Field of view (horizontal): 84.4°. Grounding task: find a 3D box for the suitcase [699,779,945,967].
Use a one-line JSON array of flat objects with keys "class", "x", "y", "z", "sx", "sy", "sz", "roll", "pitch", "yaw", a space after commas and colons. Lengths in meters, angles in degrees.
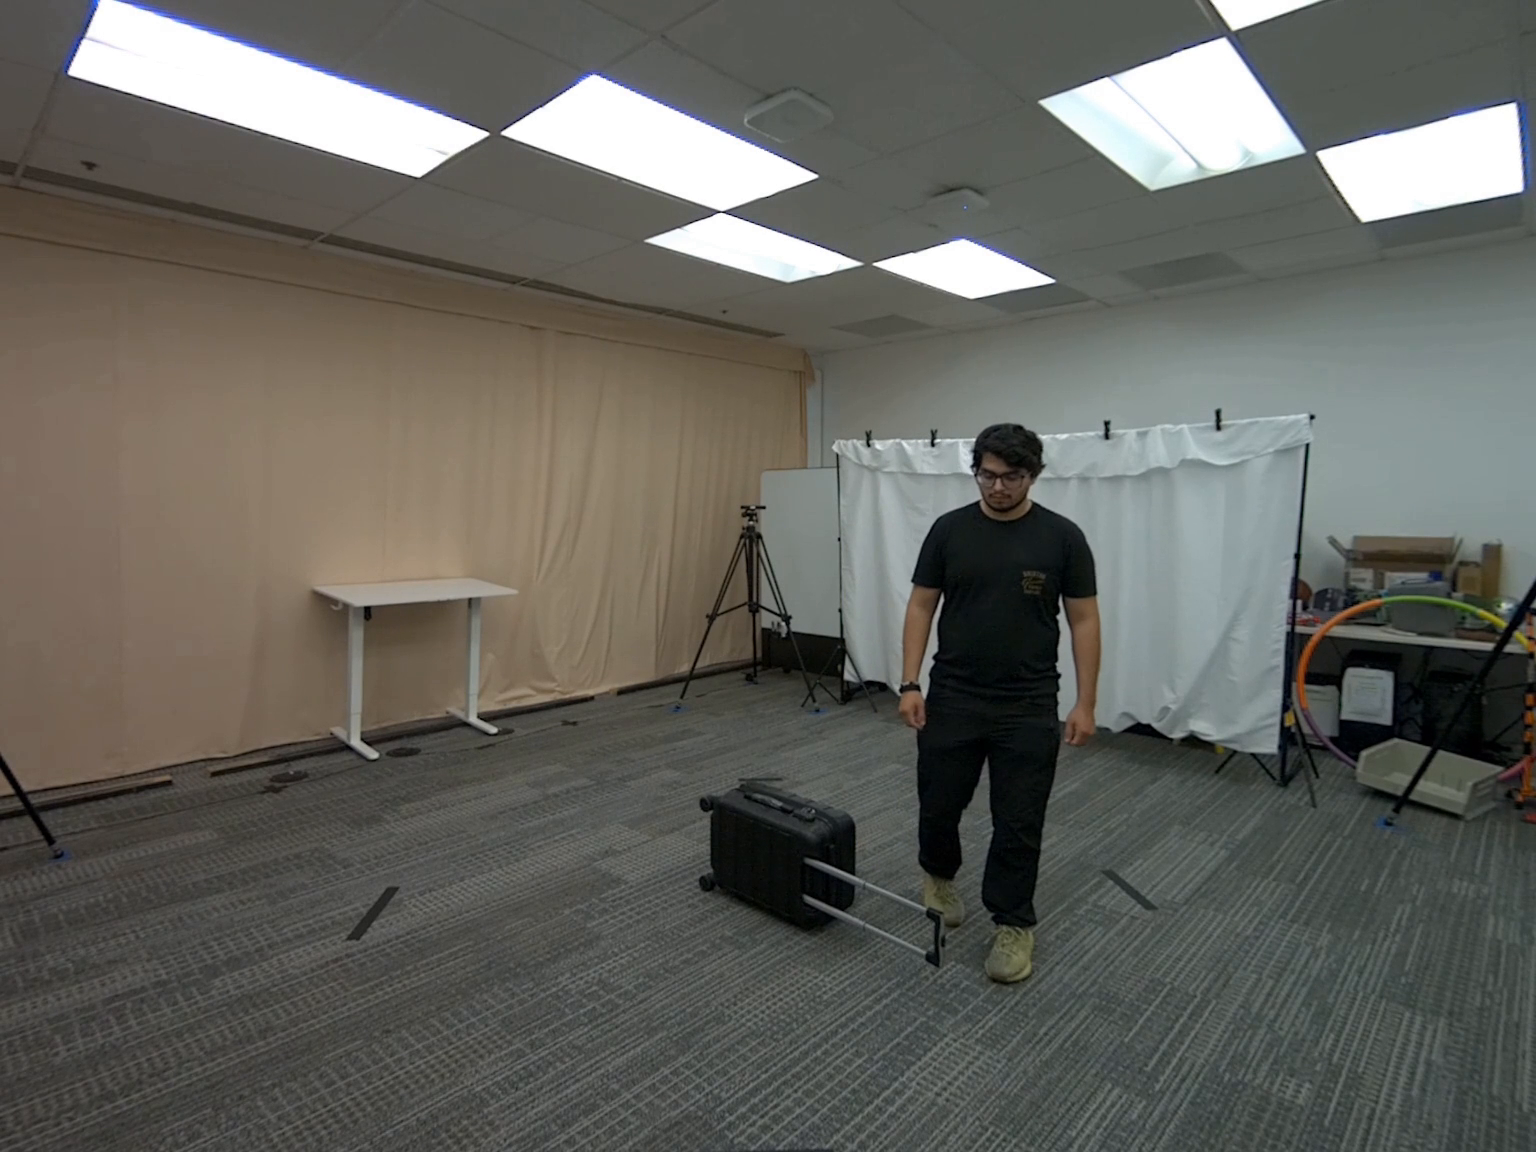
[{"class": "suitcase", "x": 0.198, "y": 0.973, "z": 2.798, "sx": 1.012, "sy": 0.383, "sz": 0.249, "roll": 5, "pitch": 6, "yaw": 43}]
